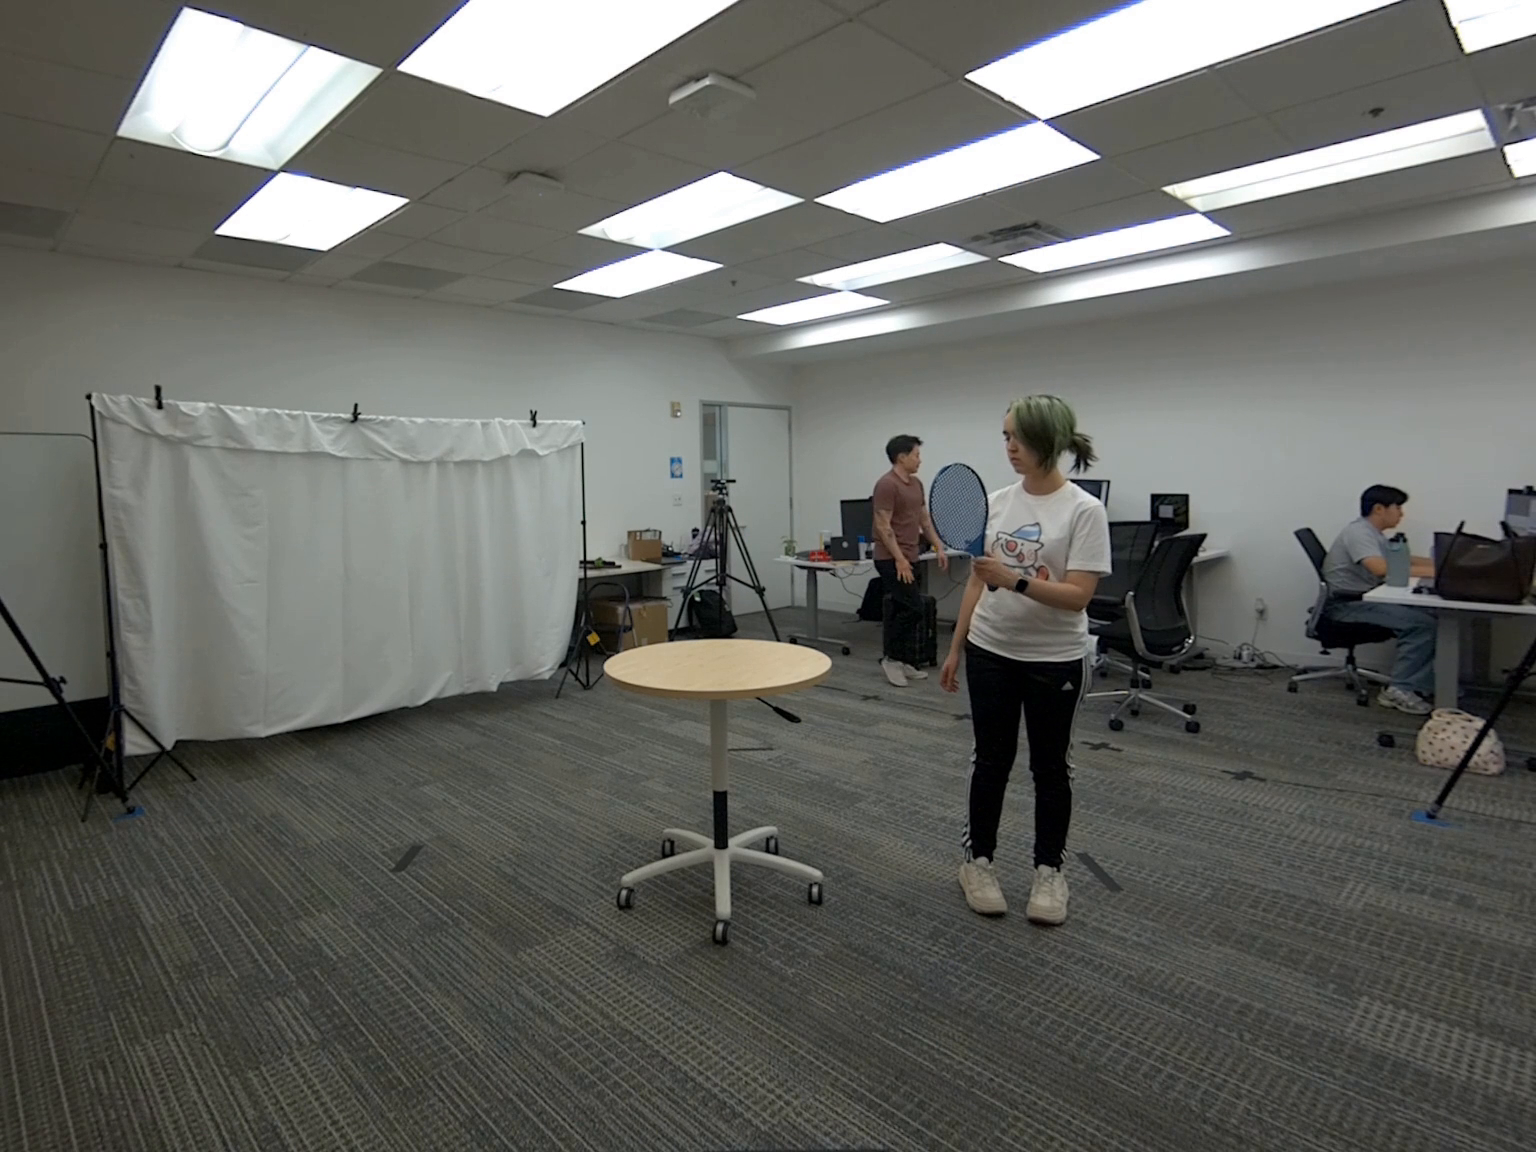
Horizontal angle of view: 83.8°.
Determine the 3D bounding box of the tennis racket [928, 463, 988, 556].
[{"bbox_3d":[0.597,-0.134,2.465,0.213,0.421,0.033,-41,23,-14],"label":"tennis racket"}]
